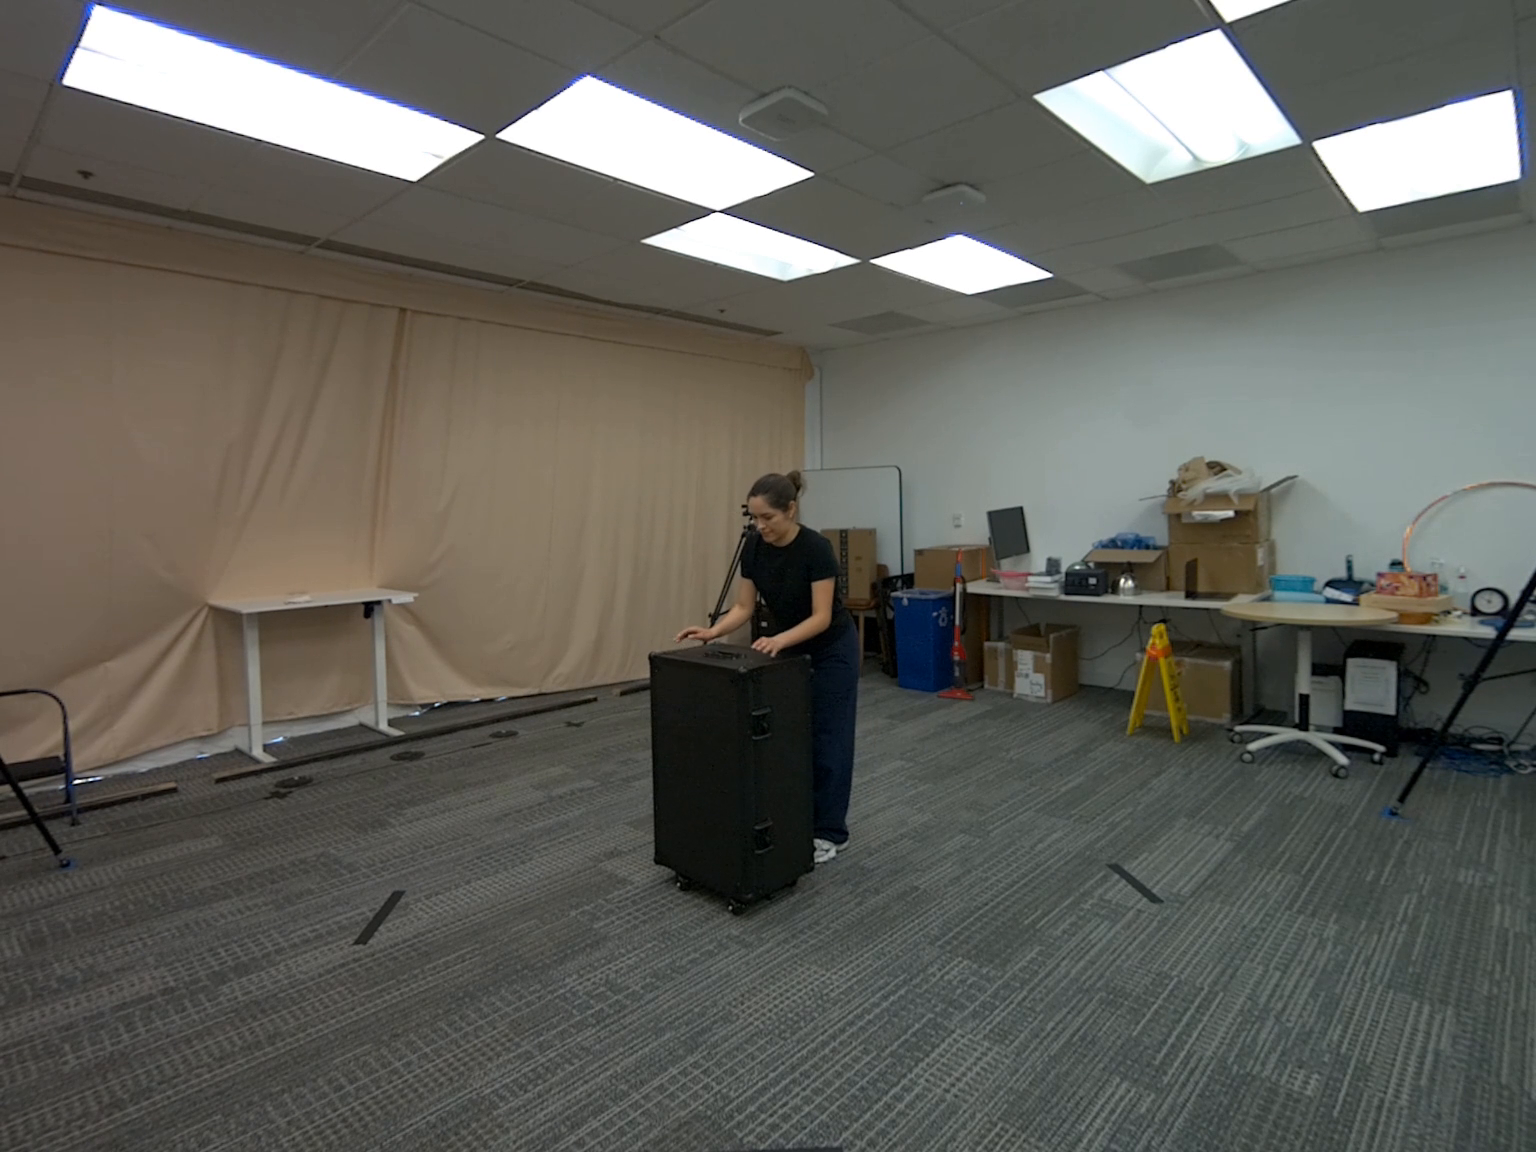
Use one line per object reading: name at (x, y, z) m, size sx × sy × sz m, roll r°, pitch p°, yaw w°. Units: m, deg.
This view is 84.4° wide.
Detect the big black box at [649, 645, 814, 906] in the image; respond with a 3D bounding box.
big black box at (-0.117, 0.651, 3.063) m, size 0.538 × 0.860 × 0.384 m, roll 2°, pitch 4°, yaw 44°
